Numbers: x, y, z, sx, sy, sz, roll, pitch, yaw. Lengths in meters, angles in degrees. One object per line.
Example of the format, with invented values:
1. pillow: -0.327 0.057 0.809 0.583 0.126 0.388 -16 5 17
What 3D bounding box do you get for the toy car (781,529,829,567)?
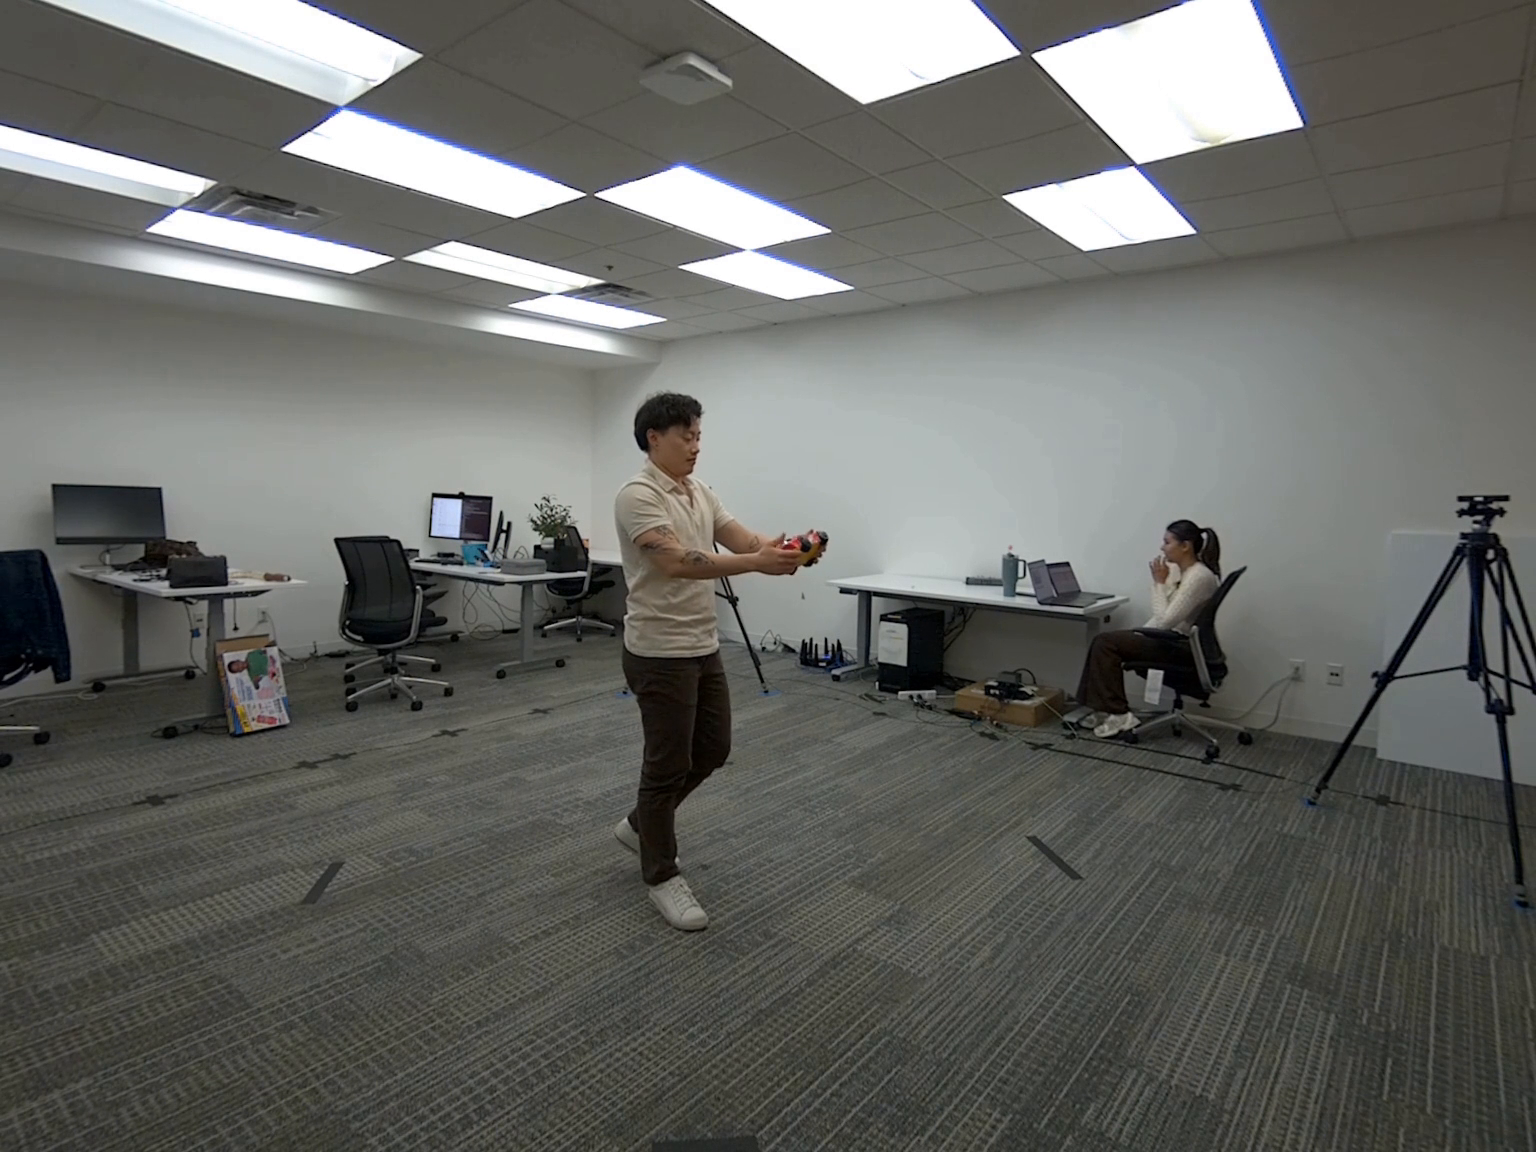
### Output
1. toy car: 0.089 -0.073 2.617 0.086 0.129 0.247 45 27 24
